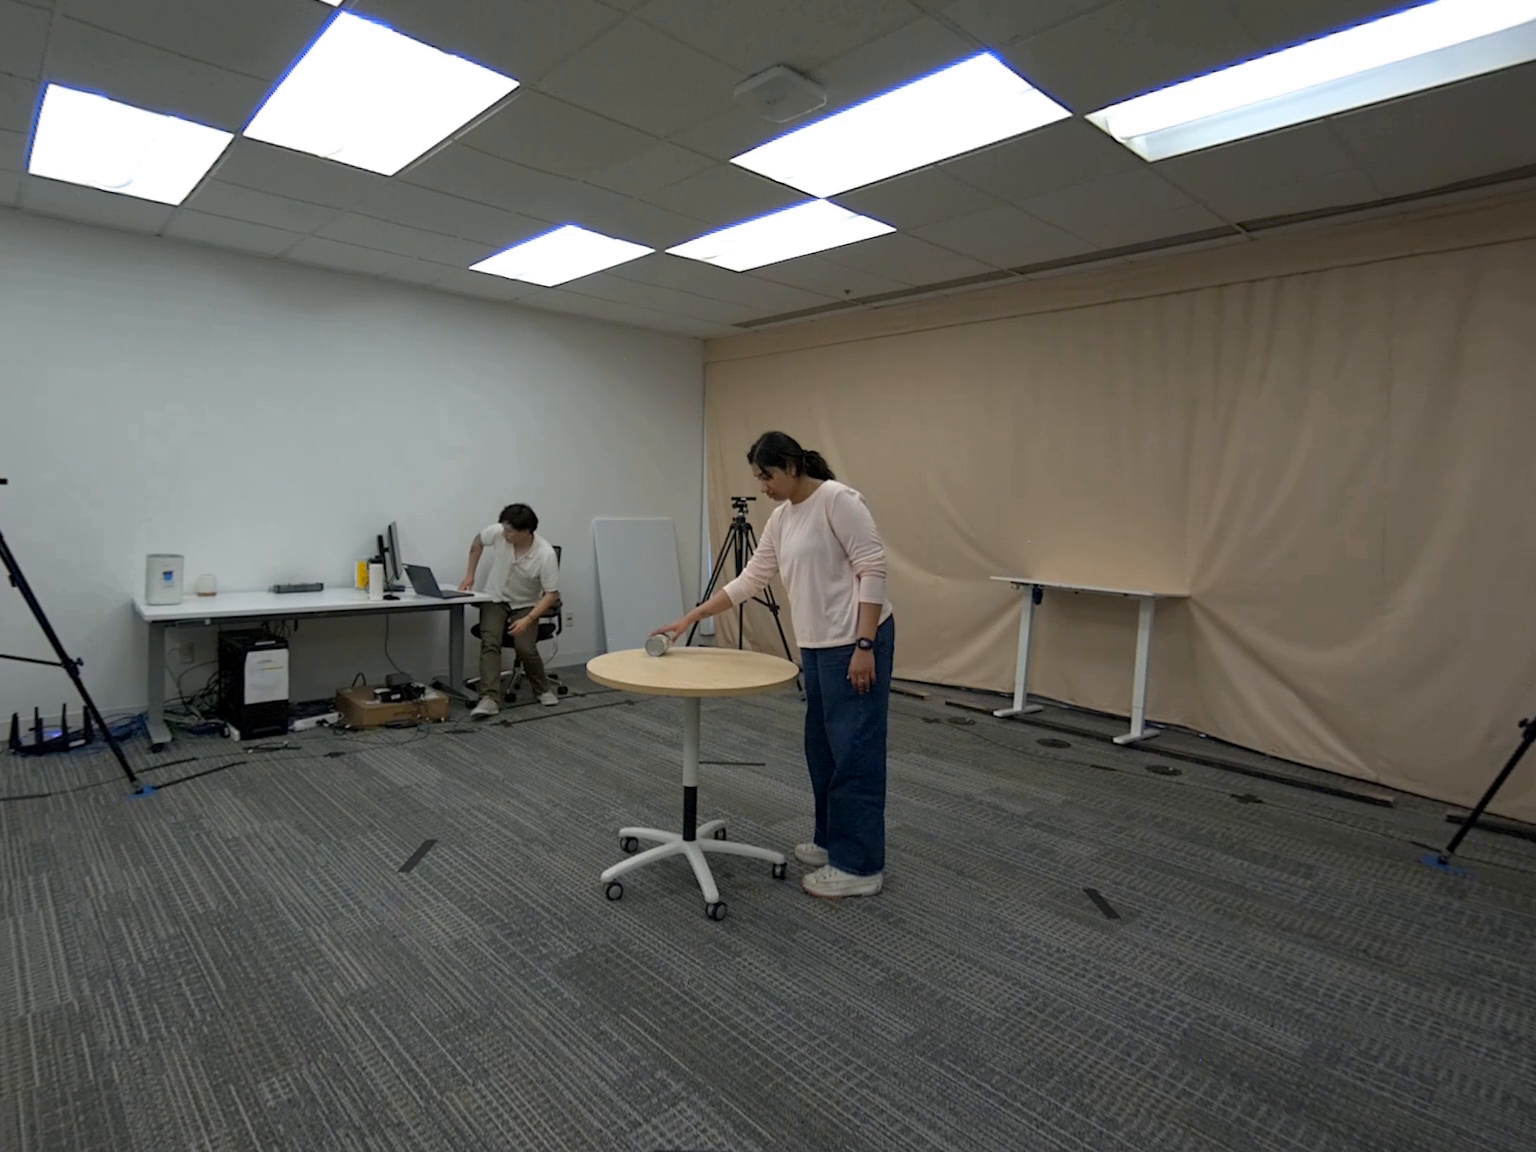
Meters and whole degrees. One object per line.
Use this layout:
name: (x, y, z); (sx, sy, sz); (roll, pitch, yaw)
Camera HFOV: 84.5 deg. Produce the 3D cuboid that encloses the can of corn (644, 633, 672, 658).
can of corn: (-0.425, 0.264, 3.256); (0.074, 0.074, 0.111); (2, 4, 5)
